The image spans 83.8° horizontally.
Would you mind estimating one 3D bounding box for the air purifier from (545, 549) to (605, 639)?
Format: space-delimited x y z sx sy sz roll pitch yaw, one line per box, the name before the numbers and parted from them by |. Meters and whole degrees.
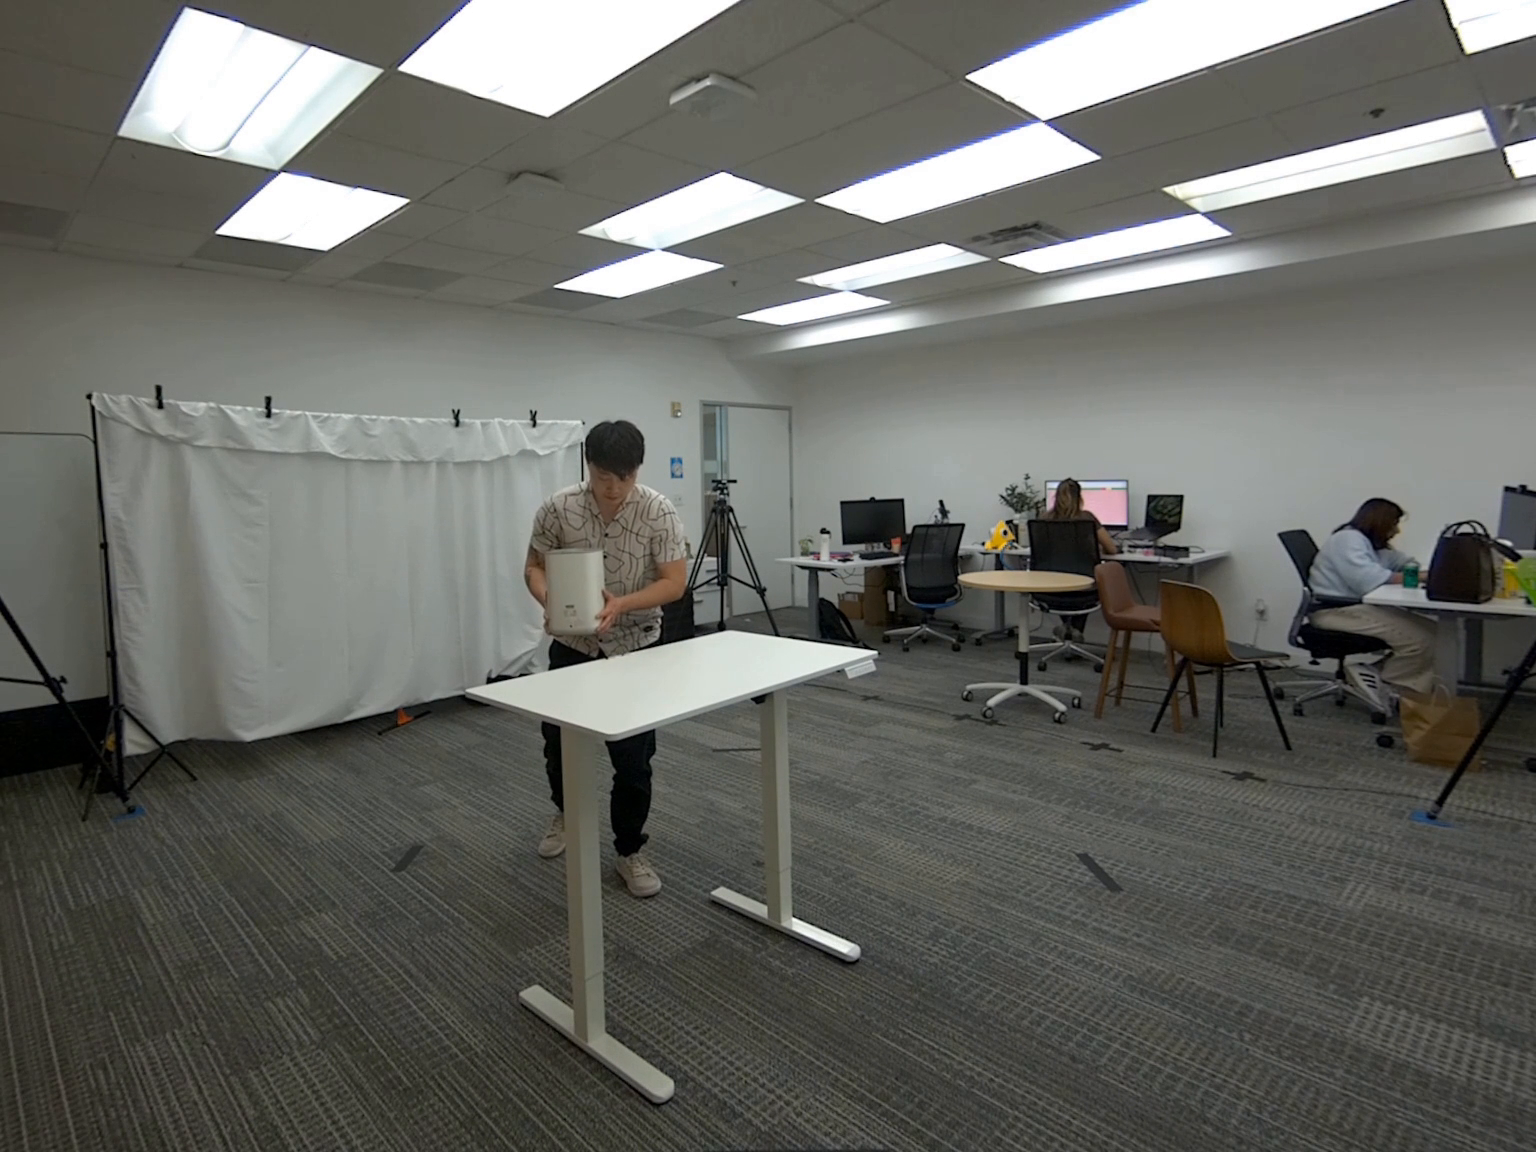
air purifier | -0.628 0.054 2.731 0.171 0.265 0.172 -2 3 -2
